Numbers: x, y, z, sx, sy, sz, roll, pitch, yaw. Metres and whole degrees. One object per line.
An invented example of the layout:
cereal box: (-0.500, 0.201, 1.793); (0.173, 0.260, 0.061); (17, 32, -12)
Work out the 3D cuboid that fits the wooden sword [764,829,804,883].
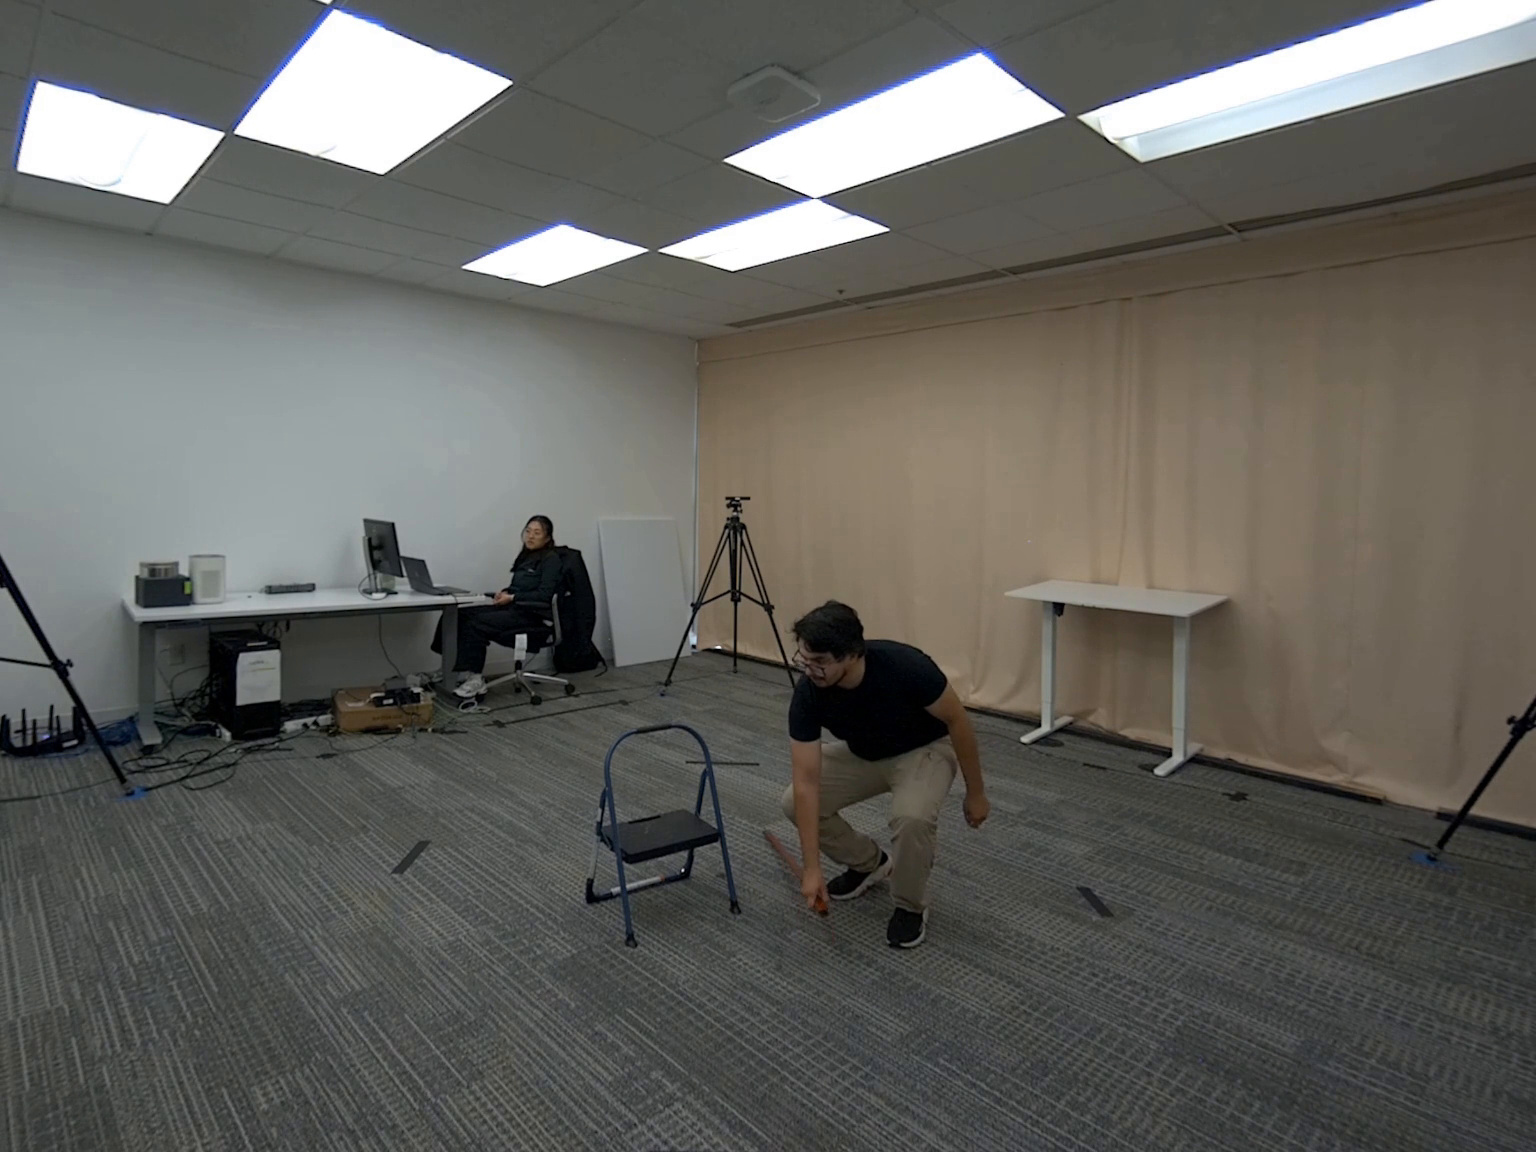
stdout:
wooden sword: (0.081, 1.041, 3.013); (0.024, 0.051, 1.028); (-27, 2, -10)
